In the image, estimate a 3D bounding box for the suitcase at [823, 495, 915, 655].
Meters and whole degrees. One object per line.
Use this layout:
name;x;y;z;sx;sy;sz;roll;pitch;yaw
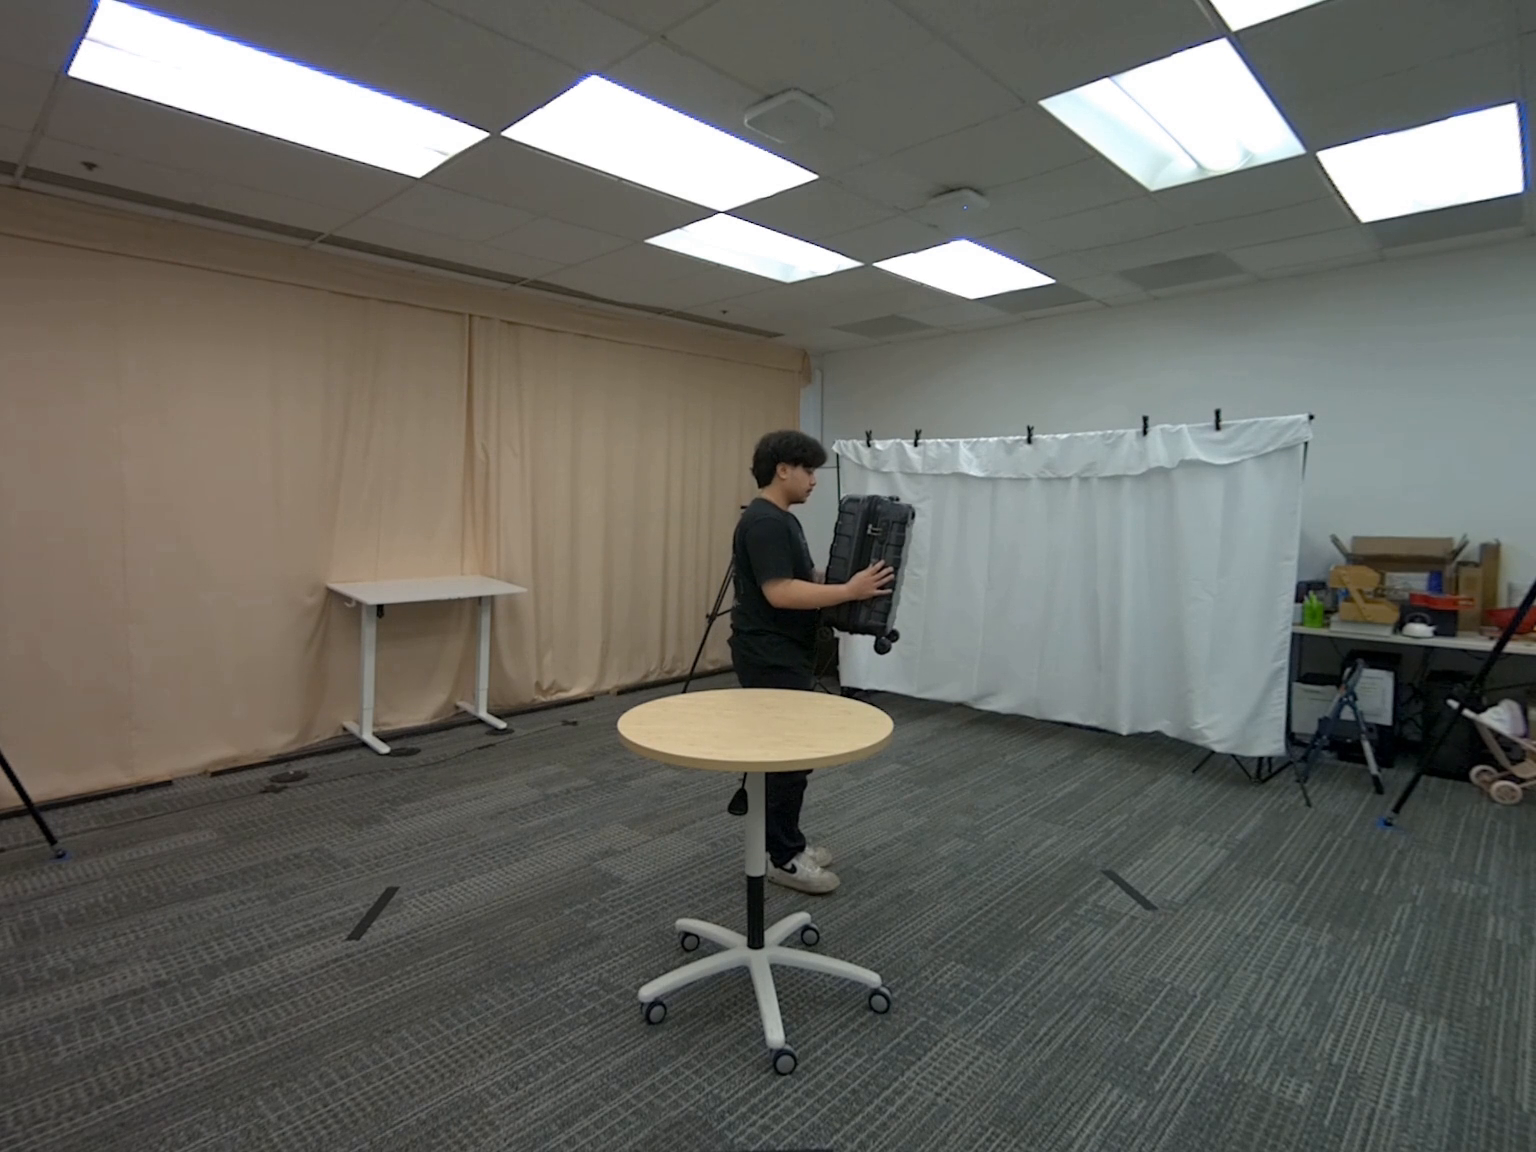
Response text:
suitcase;0.376;-0.028;3.112;0.254;0.548;0.368;9;4;18
